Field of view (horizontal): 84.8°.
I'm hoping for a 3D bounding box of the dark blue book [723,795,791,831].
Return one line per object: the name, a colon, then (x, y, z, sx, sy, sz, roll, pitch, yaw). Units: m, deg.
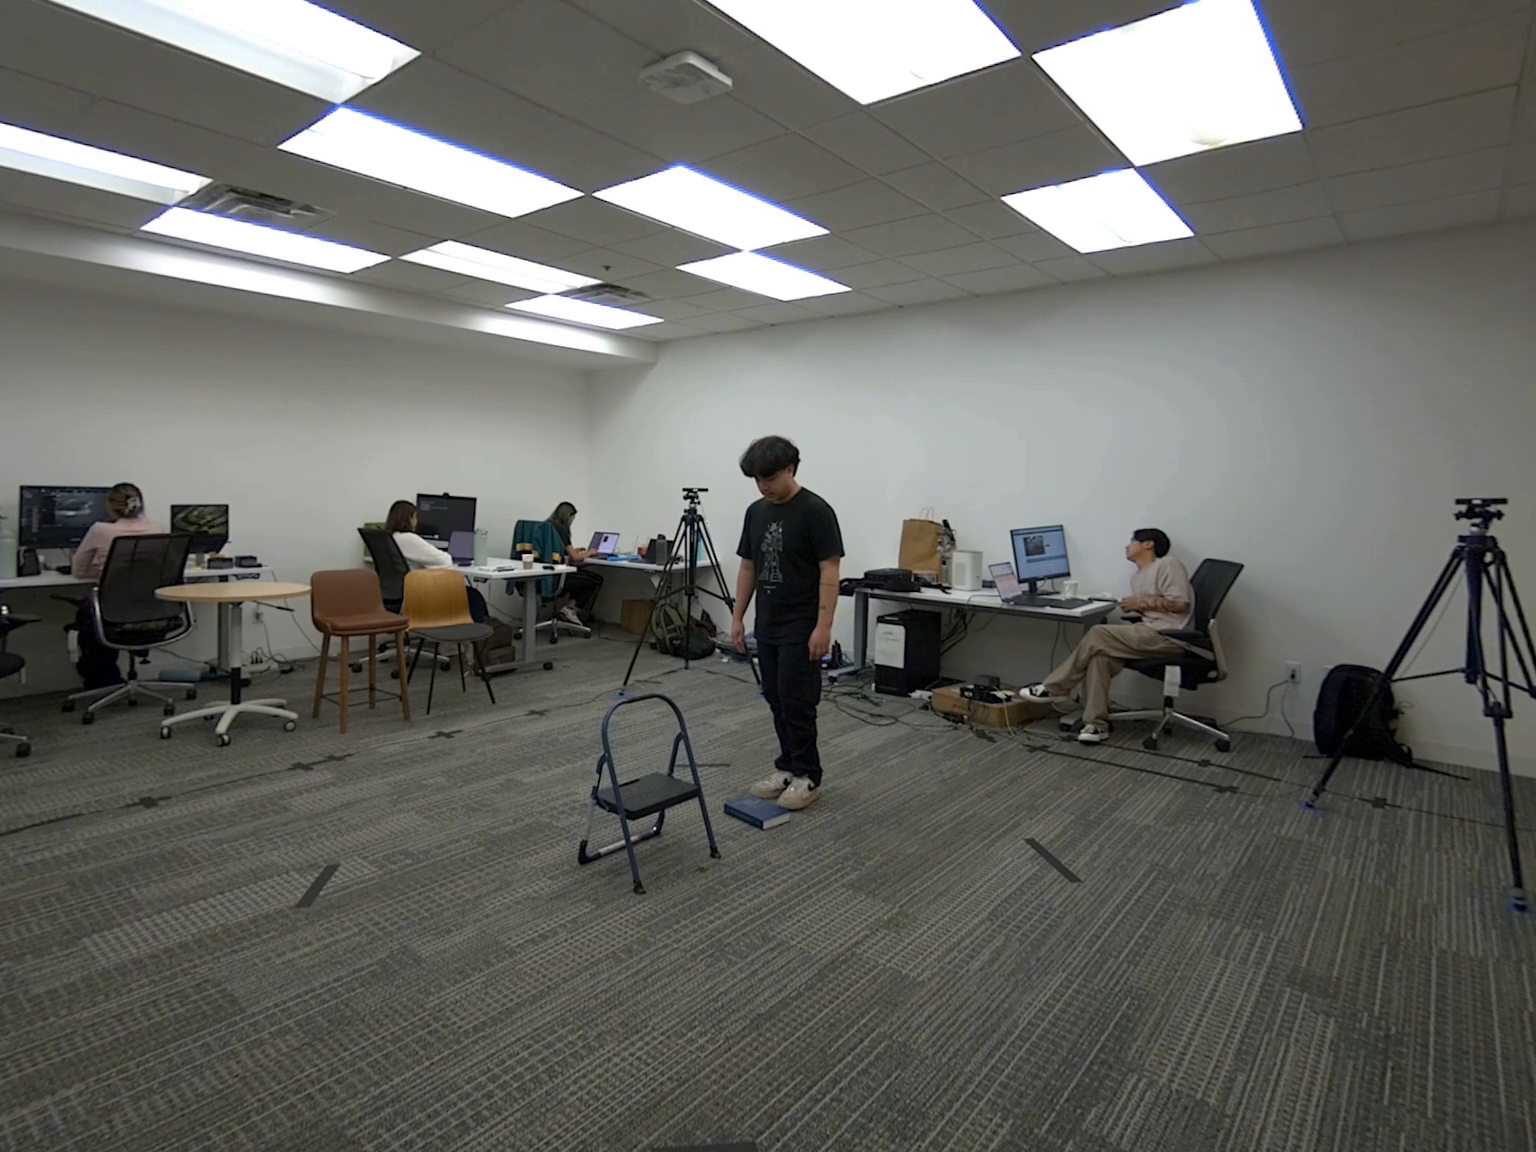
dark blue book: (-0.055, 1.004, 3.621, 0.158, 0.045, 0.253, -4, 7, -43)
